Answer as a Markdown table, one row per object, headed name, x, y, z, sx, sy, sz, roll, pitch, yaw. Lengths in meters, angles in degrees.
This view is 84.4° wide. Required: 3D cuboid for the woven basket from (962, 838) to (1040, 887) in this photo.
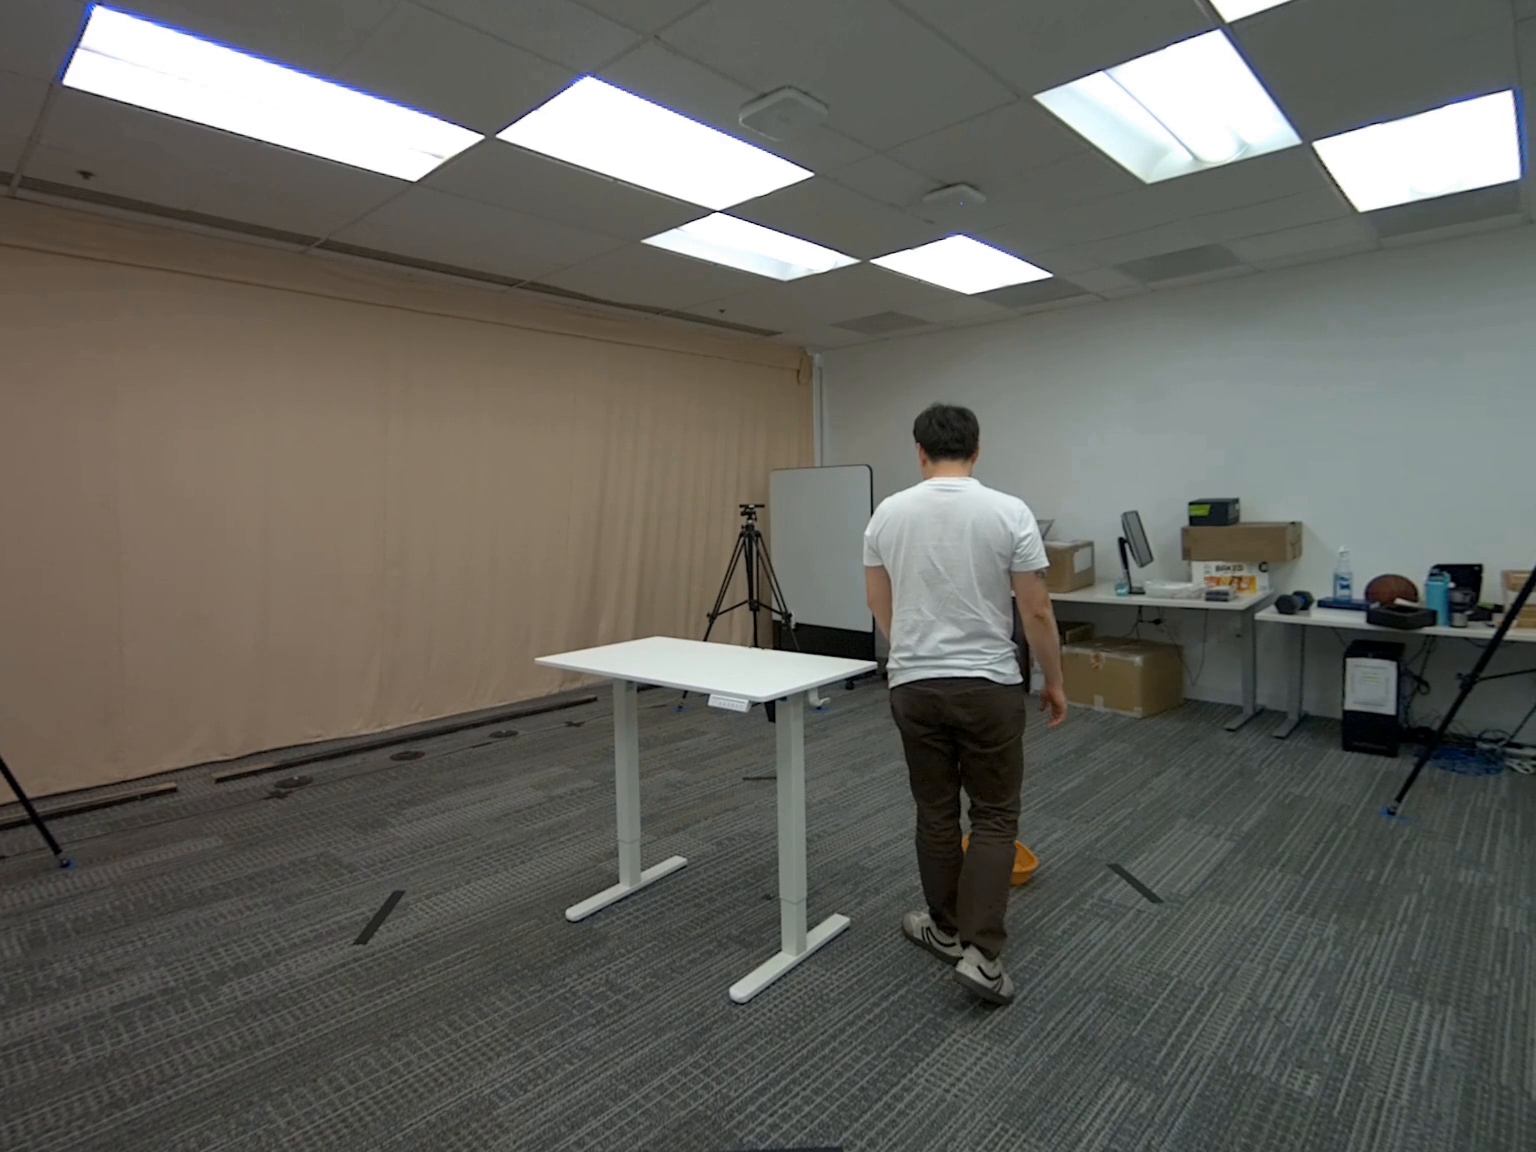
| name | x | y | z | sx | sy | sz | roll | pitch | yaw |
| --- | --- | --- | --- | --- | --- | --- | --- | --- | --- |
| woven basket | 0.871 | 1.070 | 3.174 | 0.252 | 0.073 | 0.352 | 0 | 4 | -3 |
